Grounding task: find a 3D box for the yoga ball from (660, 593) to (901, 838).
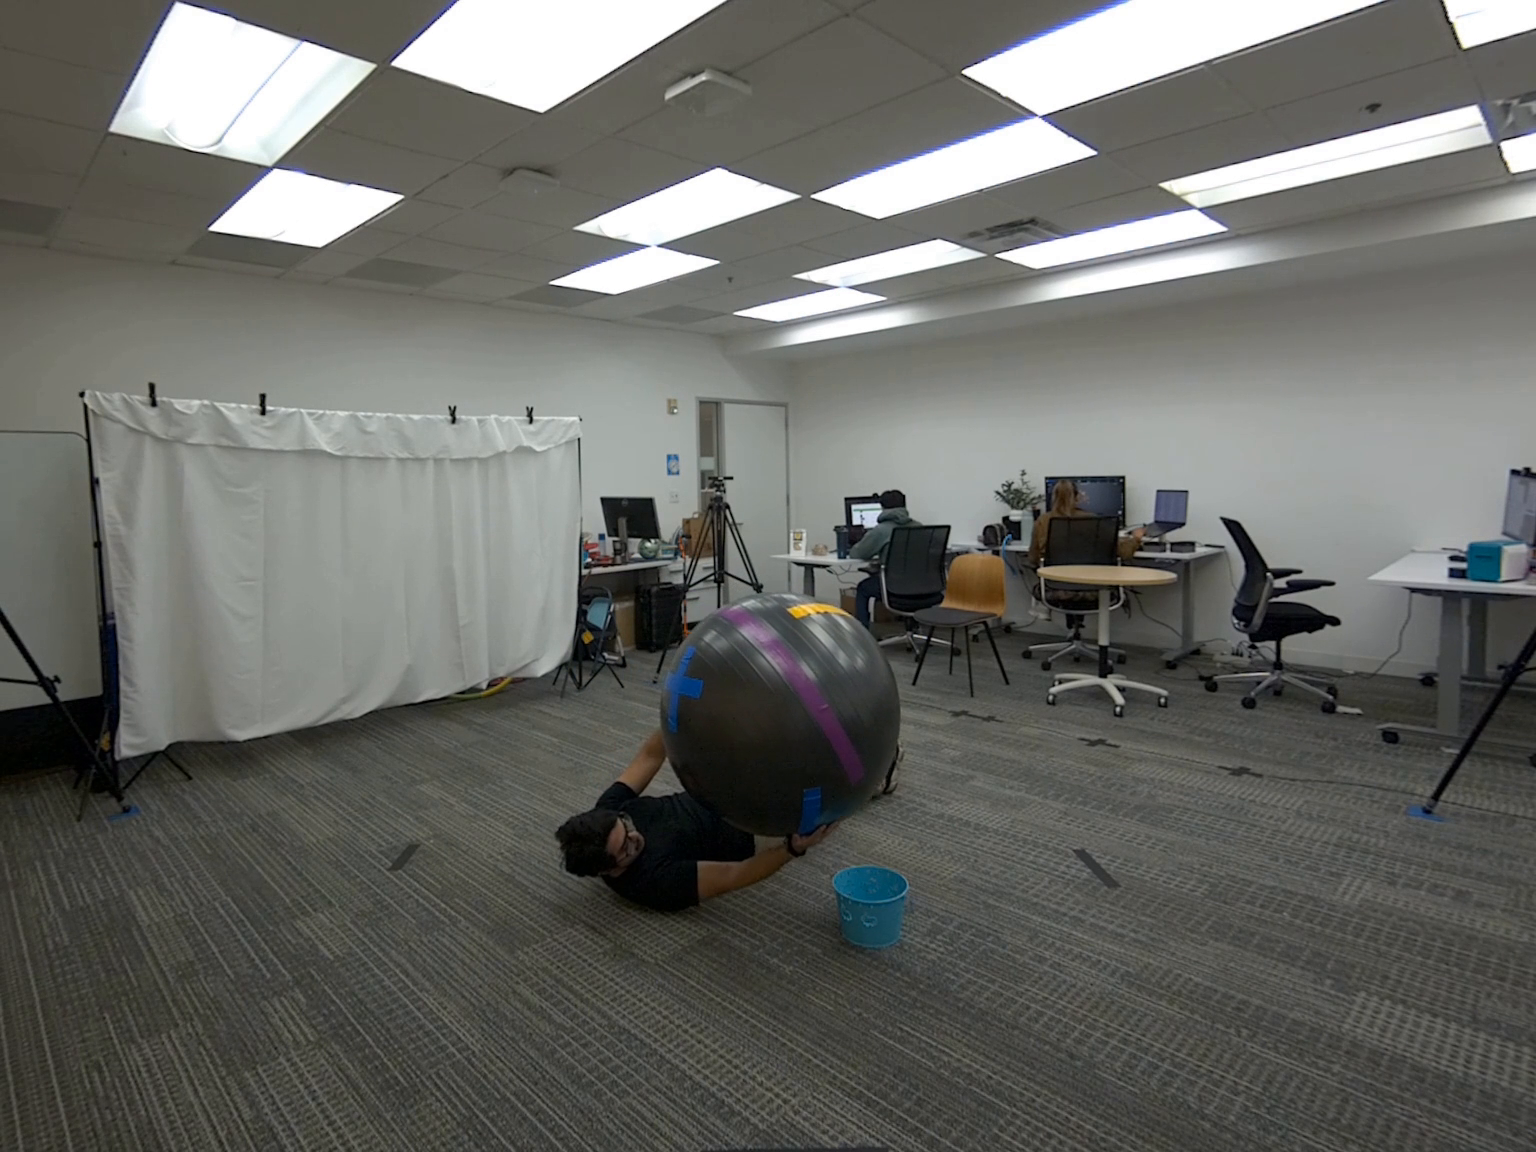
[{"bbox_3d":[0.037,0.434,2.710,0.757,0.755,0.761,-1,4,-2],"label":"yoga ball"}]
